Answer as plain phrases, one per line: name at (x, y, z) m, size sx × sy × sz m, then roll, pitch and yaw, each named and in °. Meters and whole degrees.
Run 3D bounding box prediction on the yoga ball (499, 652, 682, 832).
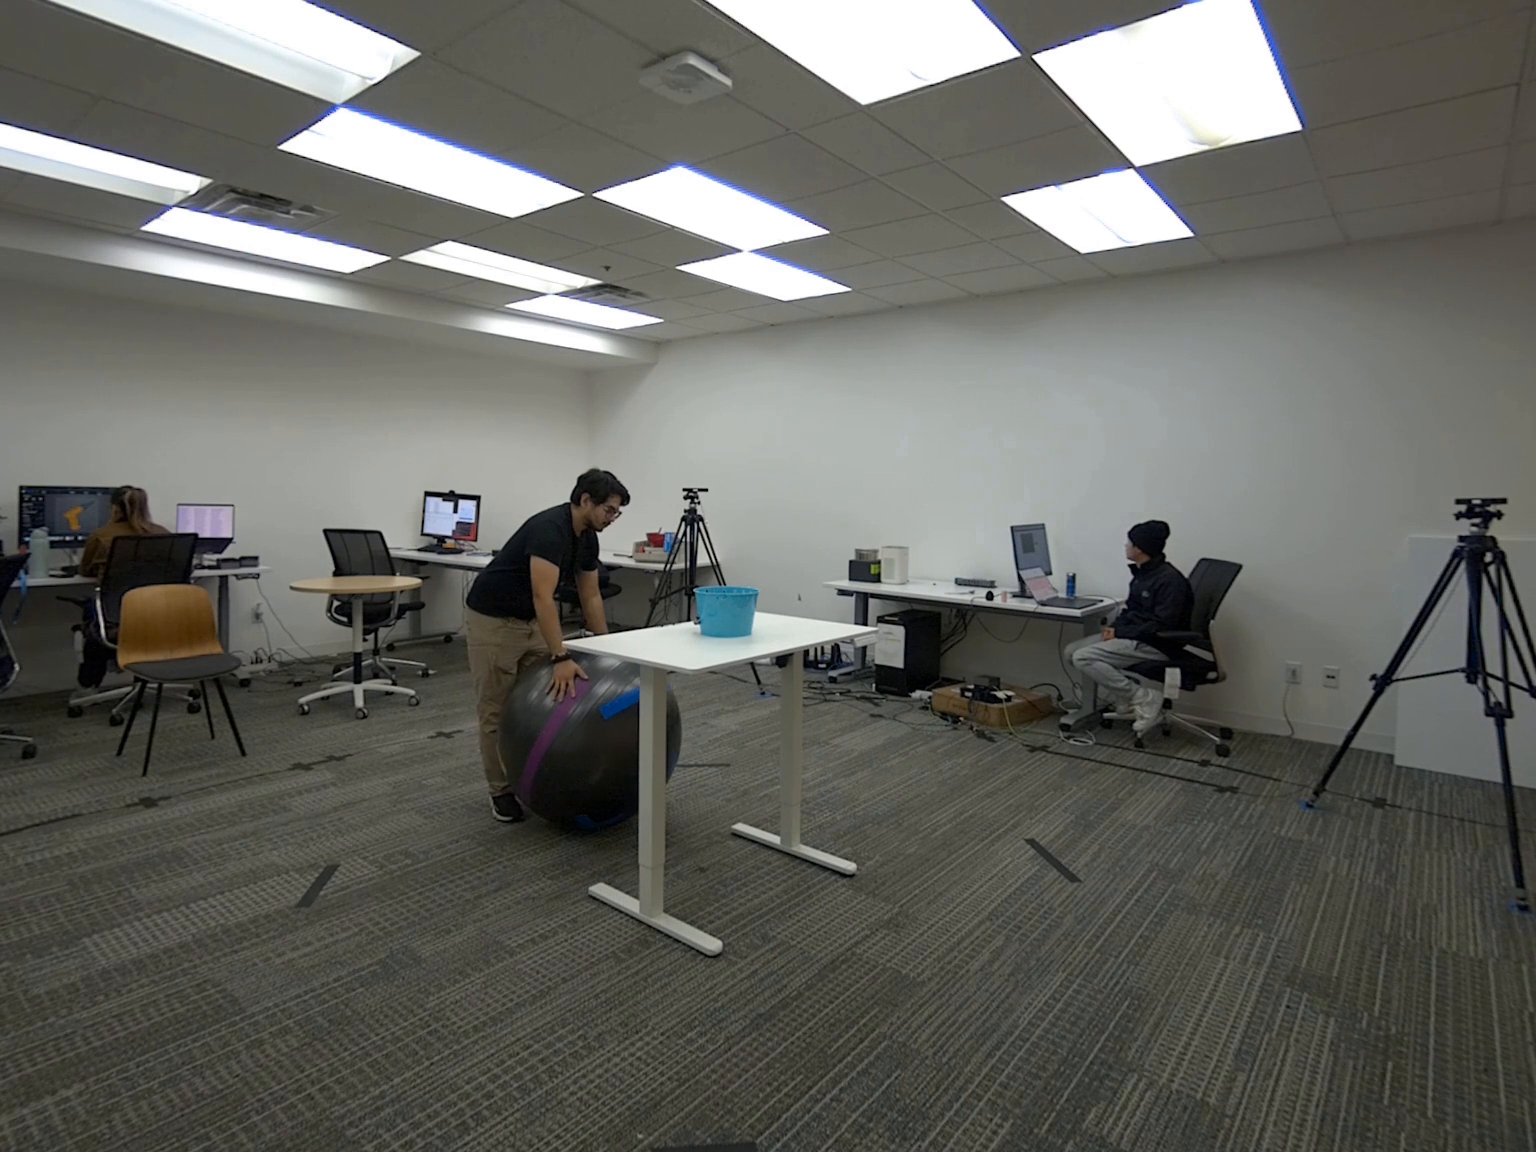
yoga ball at (-0.754, 0.656, 3.534) m, size 0.757 × 0.755 × 0.762 m, roll 1°, pitch 4°, yaw -2°
